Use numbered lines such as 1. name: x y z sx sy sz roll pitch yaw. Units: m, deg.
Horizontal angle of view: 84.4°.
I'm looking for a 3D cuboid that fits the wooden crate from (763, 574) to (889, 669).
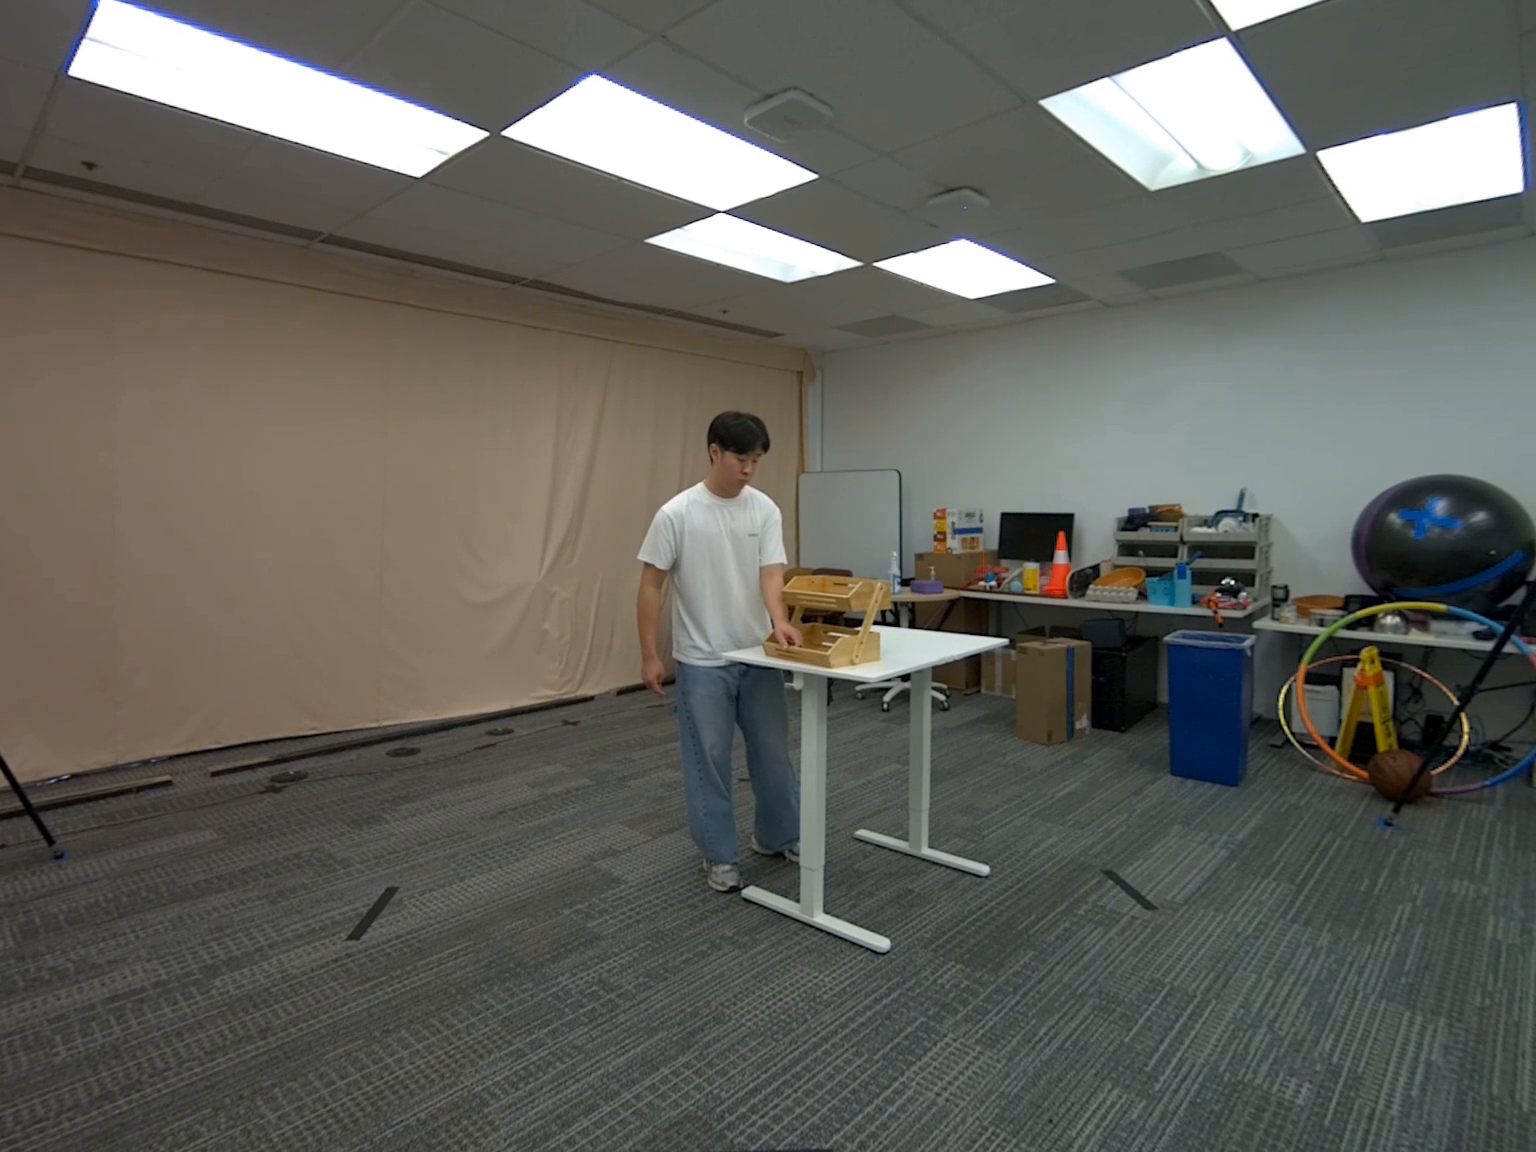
1. wooden crate: 0.198 0.140 2.800 0.293 0.273 0.335 -2 4 -42
